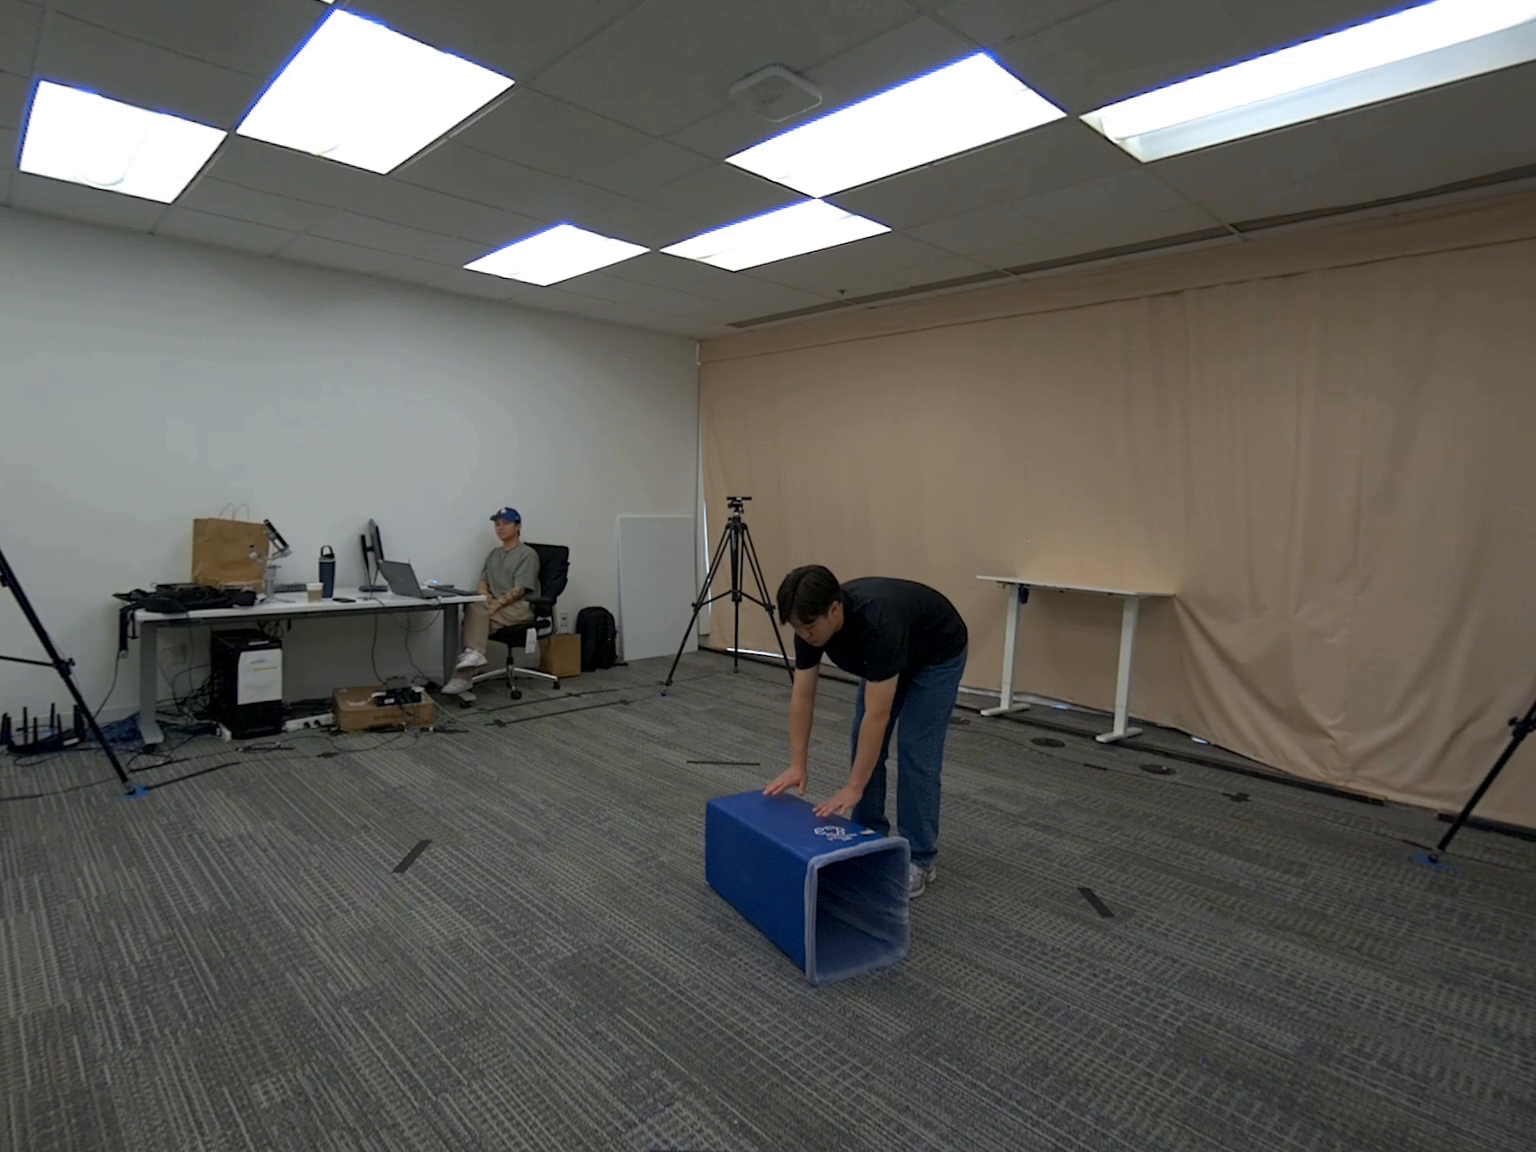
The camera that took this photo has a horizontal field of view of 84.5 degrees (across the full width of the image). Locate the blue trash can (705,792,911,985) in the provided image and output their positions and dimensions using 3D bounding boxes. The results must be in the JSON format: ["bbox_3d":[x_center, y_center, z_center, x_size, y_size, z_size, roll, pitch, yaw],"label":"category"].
[{"bbox_3d":[0.082,0.973,2.783,0.366,0.378,0.729,-1,2,-32],"label":"blue trash can"}]
